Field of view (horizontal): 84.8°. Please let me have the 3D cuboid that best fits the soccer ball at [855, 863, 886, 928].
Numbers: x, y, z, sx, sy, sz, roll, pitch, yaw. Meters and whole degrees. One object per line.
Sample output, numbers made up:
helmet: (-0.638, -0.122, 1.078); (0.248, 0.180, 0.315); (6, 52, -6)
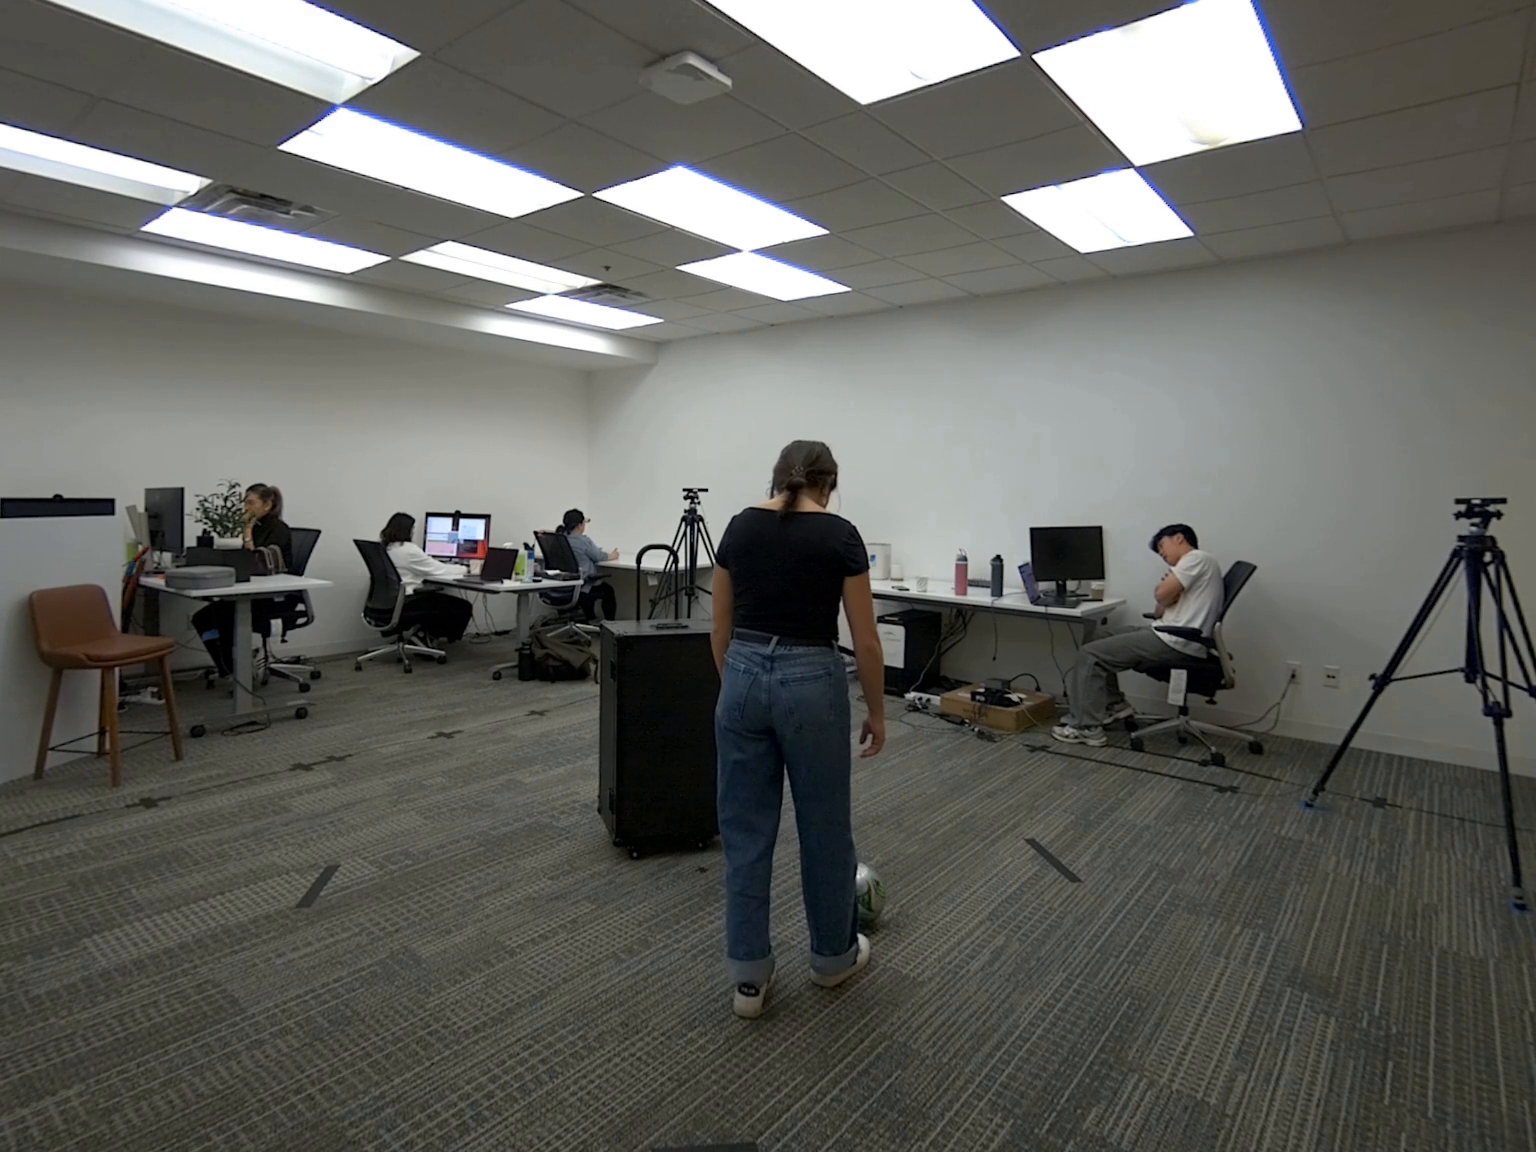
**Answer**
soccer ball: (0.295, 1.017, 2.753); (0.187, 0.187, 0.188); (1, 4, -2)
